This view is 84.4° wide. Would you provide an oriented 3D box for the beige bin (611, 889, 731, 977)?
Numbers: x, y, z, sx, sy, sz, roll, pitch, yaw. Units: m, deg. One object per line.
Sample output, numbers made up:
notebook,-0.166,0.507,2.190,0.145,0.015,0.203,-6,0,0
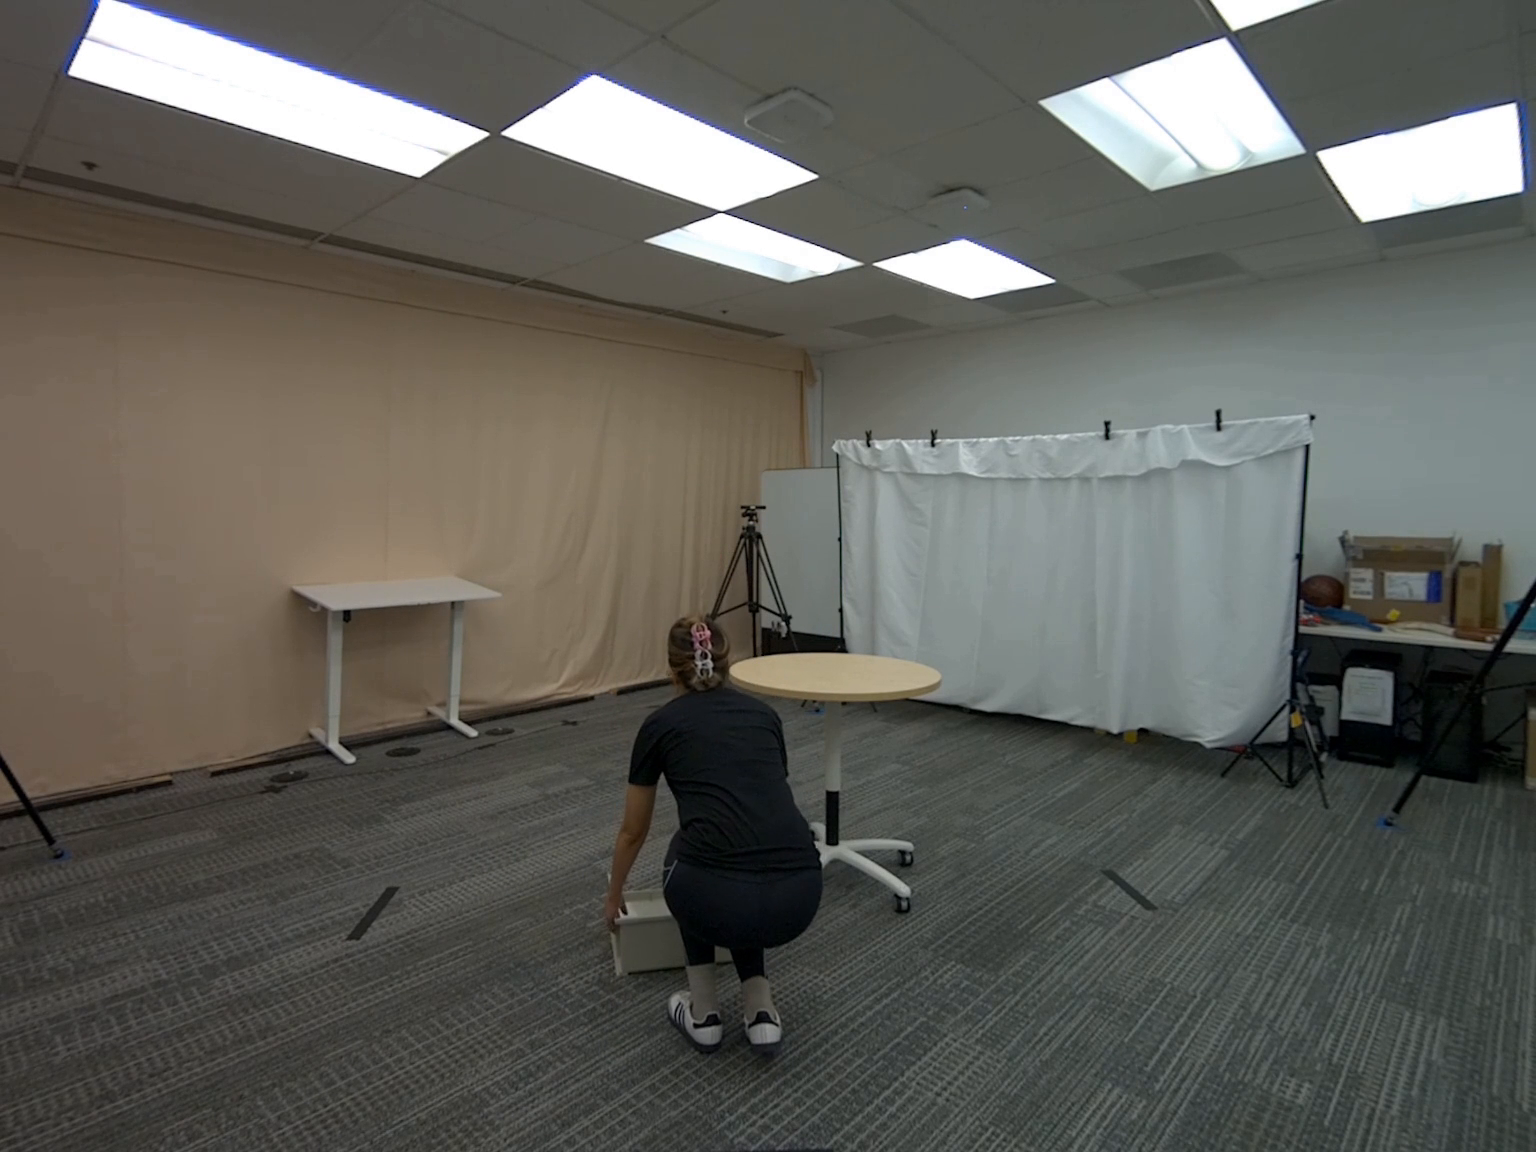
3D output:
beige bin,-0.295,1.086,2.693,0.417,0.188,0.383,-1,5,-13
